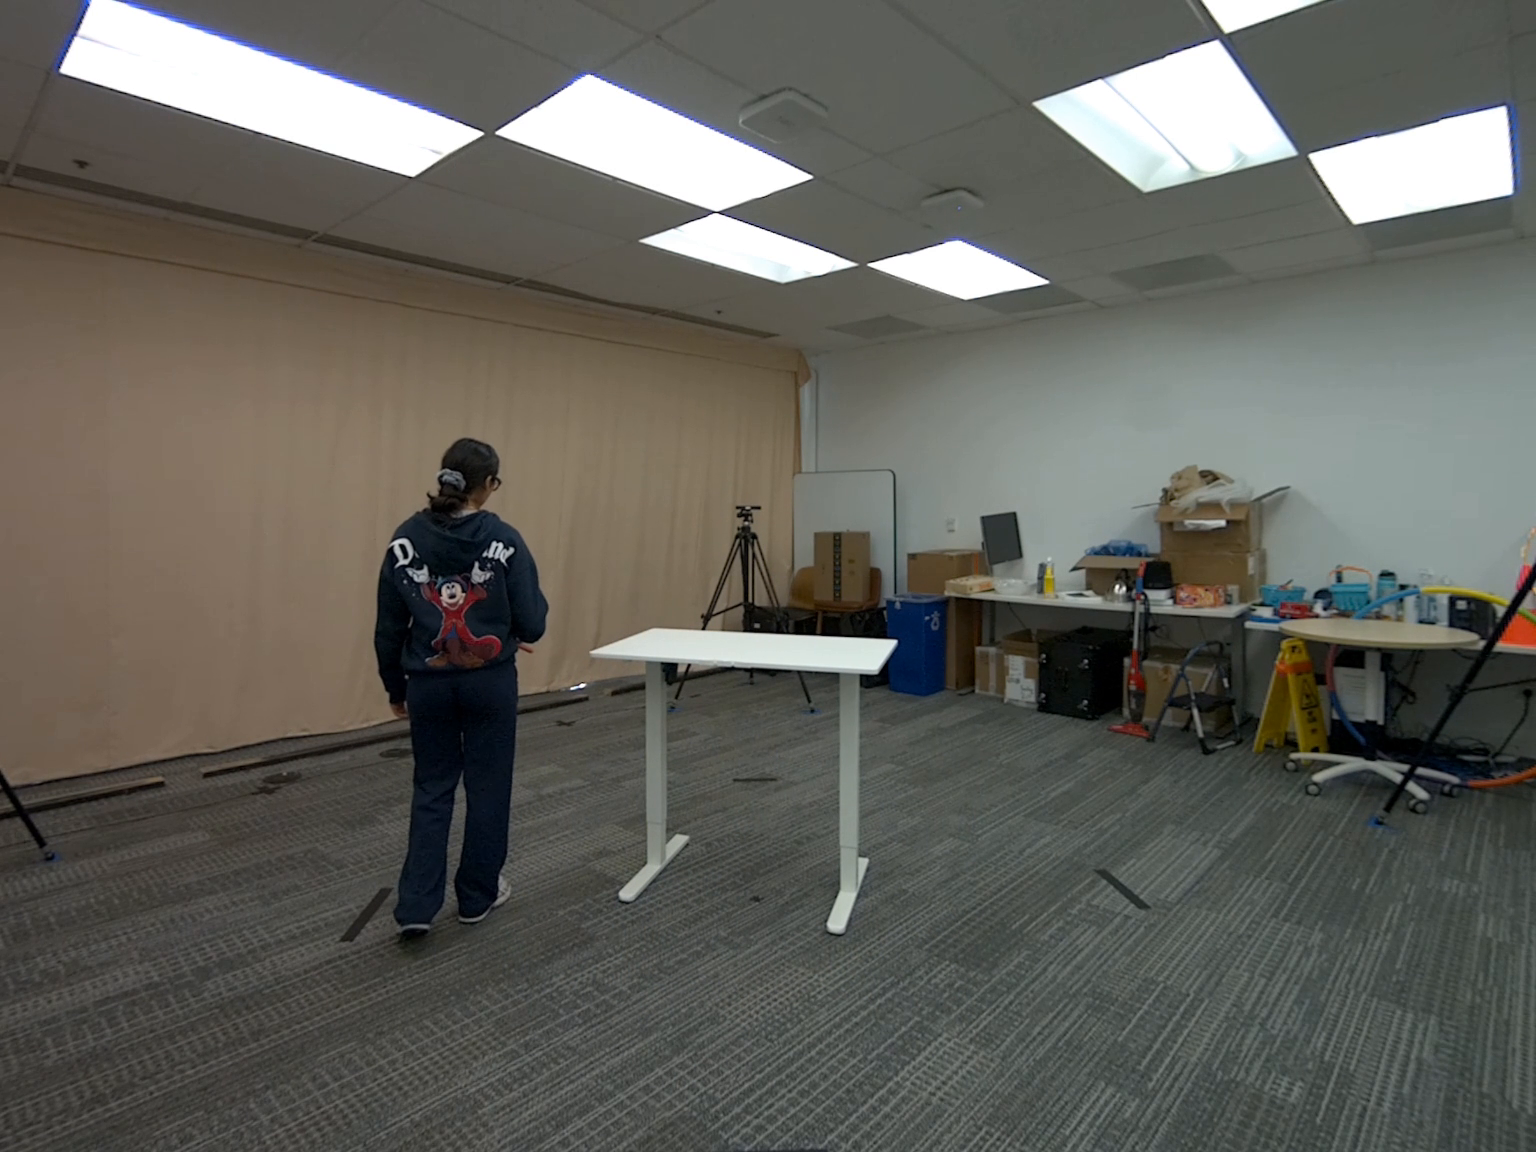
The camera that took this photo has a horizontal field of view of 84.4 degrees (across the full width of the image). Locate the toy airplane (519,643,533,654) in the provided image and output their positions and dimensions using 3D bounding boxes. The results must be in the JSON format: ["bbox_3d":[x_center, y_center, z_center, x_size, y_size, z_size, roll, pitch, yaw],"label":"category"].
[{"bbox_3d":[-0.953,0.222,3.134,0.268,0.157,0.242,2,-29,47],"label":"toy airplane"}]
